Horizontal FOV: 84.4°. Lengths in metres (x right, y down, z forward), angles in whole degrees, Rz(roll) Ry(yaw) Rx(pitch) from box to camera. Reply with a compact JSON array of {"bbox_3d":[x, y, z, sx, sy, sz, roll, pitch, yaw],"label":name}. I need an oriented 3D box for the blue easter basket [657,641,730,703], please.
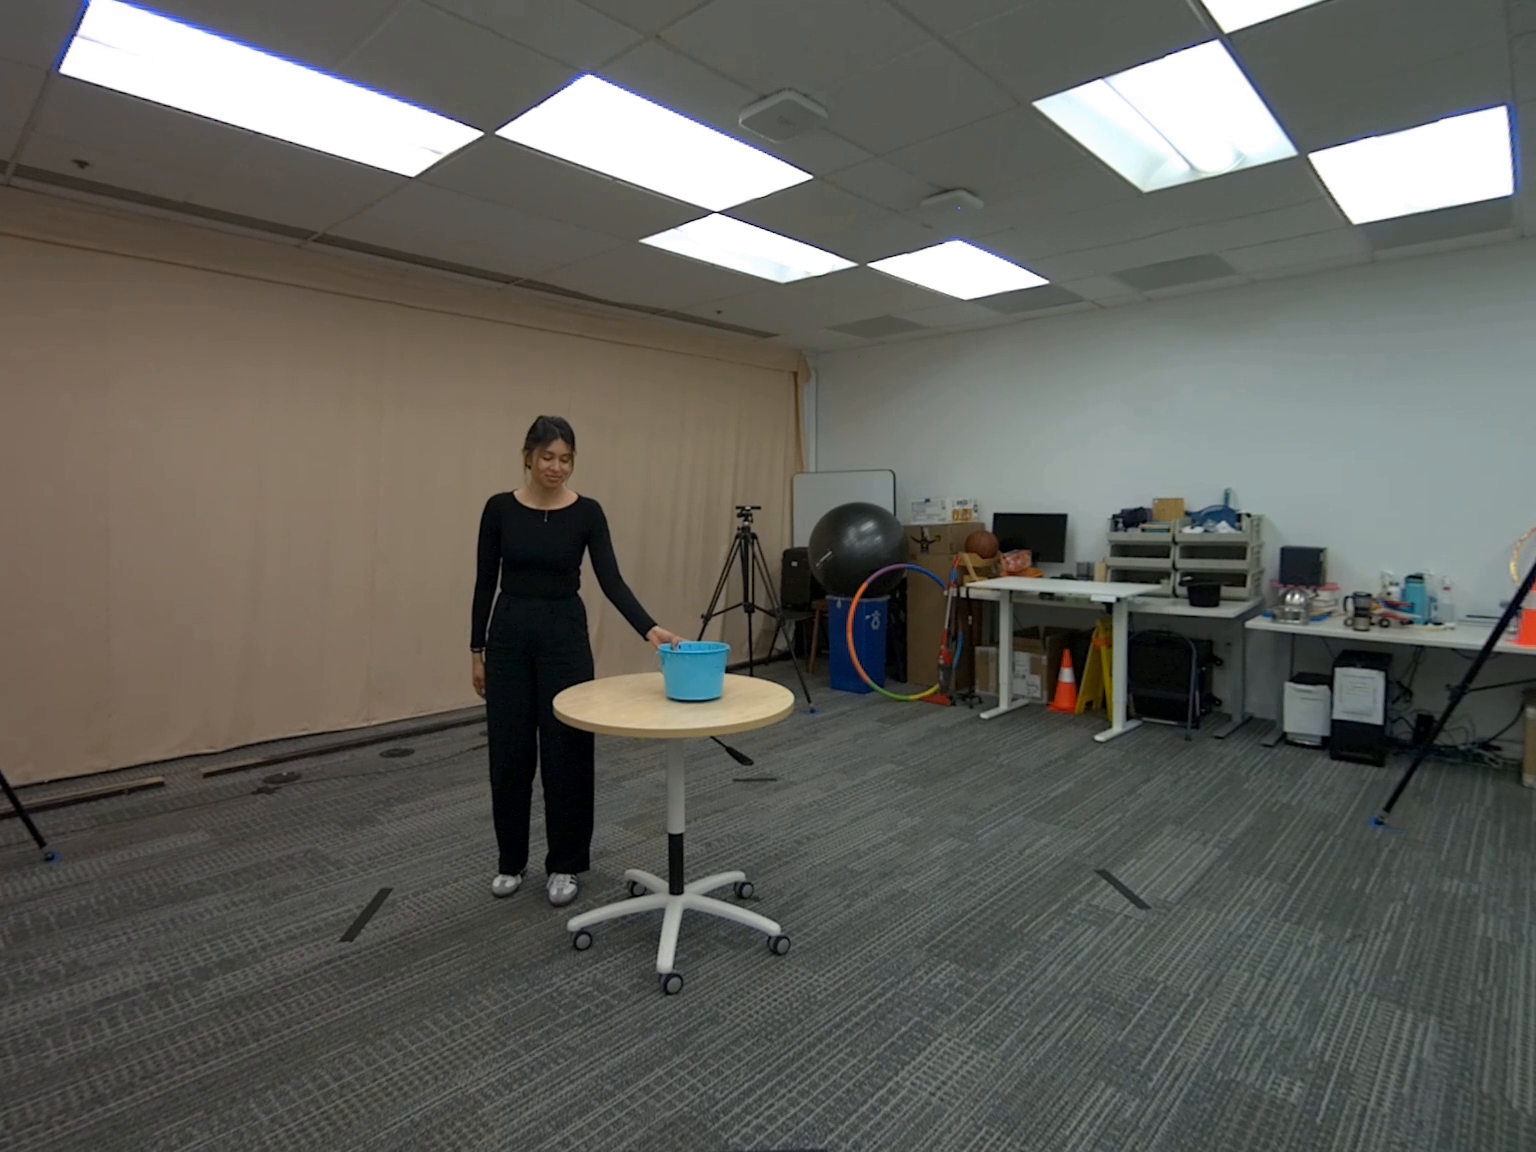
[{"bbox_3d":[-0.233,0.308,2.683,0.243,0.155,0.244,-1,3,-2],"label":"blue easter basket"}]
